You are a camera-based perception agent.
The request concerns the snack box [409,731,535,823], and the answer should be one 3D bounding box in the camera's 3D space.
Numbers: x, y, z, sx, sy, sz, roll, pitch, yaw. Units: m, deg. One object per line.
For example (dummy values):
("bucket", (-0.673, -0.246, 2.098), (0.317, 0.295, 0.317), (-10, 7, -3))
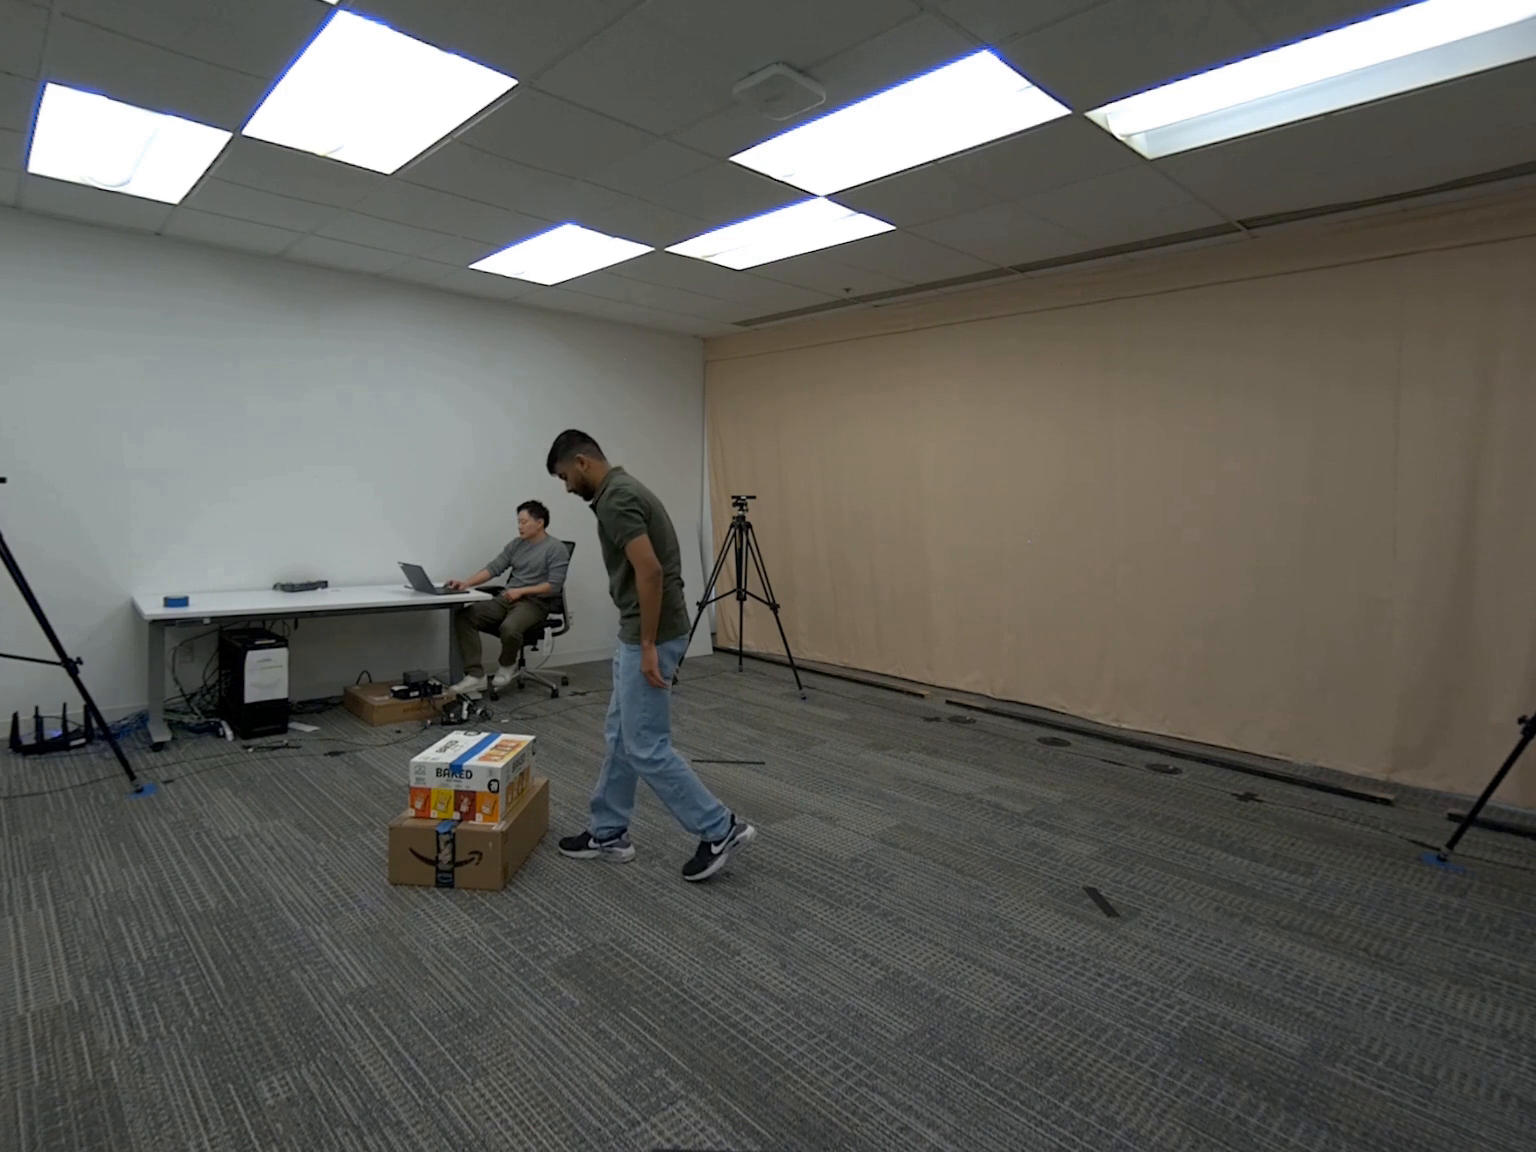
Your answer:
("snack box", (-1.112, 0.750, 3.204), (0.341, 0.205, 0.405), (3, 5, 3))
